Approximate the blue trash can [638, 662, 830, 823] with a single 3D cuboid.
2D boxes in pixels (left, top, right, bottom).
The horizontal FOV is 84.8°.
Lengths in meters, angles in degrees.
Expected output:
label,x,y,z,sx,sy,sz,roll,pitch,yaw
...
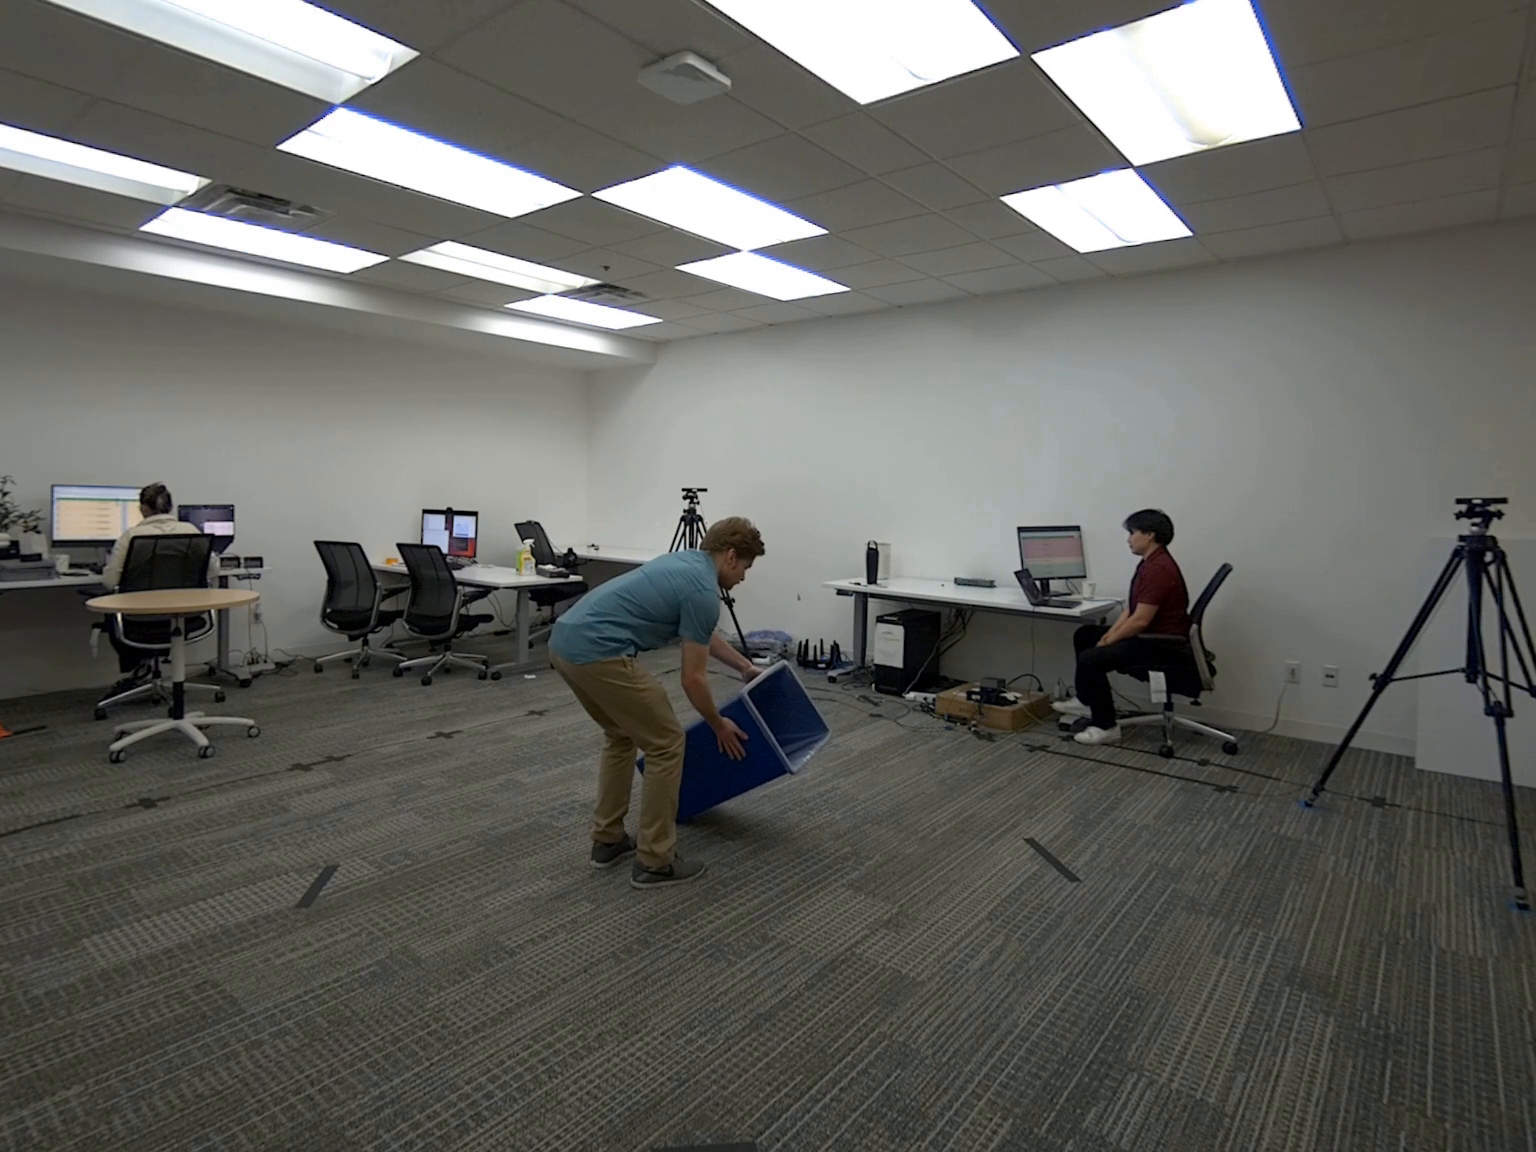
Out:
label,x,y,z,sx,sy,sz,roll,pitch,yaw
blue trash can,-0.178,0.709,3.475,0.719,0.381,0.368,-36,-6,32
